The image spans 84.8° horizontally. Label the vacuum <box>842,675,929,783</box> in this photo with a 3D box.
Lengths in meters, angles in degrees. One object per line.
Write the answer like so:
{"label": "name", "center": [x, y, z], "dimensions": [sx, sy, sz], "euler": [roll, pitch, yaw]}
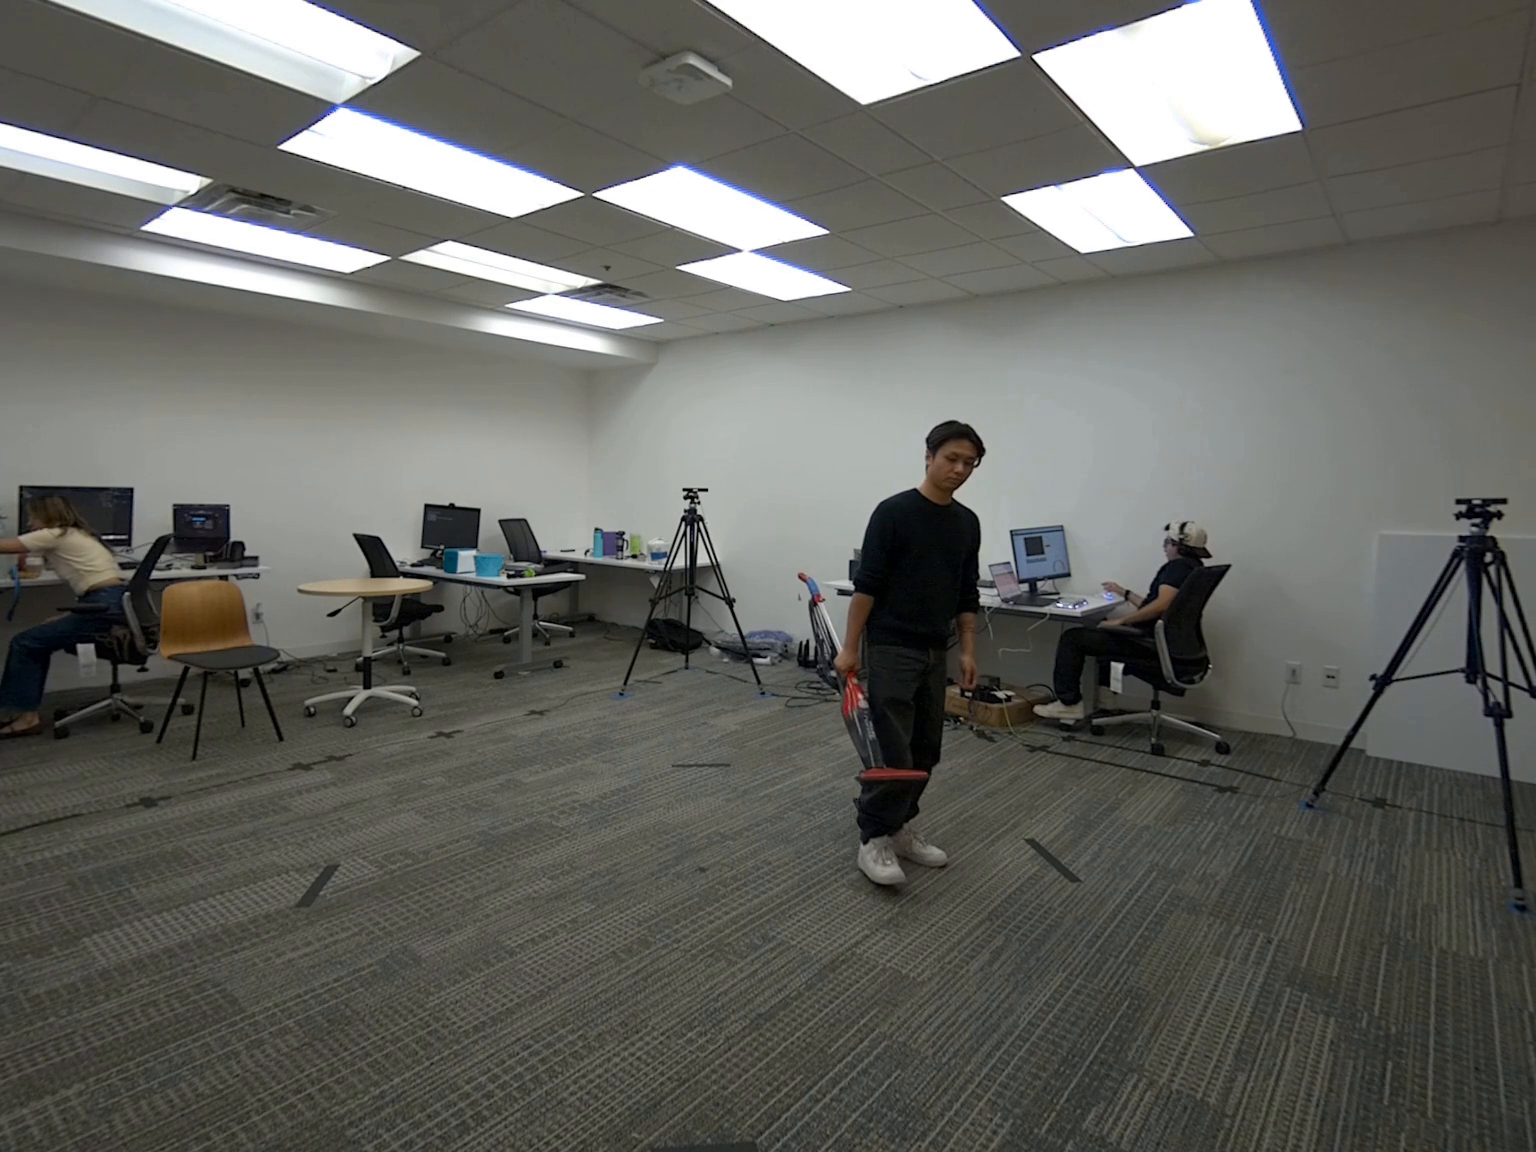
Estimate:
{"label": "vacuum", "center": [0.266, 0.345, 3.231], "dimensions": [0.247, 0.142, 1.088], "euler": [4, 39, -20]}
